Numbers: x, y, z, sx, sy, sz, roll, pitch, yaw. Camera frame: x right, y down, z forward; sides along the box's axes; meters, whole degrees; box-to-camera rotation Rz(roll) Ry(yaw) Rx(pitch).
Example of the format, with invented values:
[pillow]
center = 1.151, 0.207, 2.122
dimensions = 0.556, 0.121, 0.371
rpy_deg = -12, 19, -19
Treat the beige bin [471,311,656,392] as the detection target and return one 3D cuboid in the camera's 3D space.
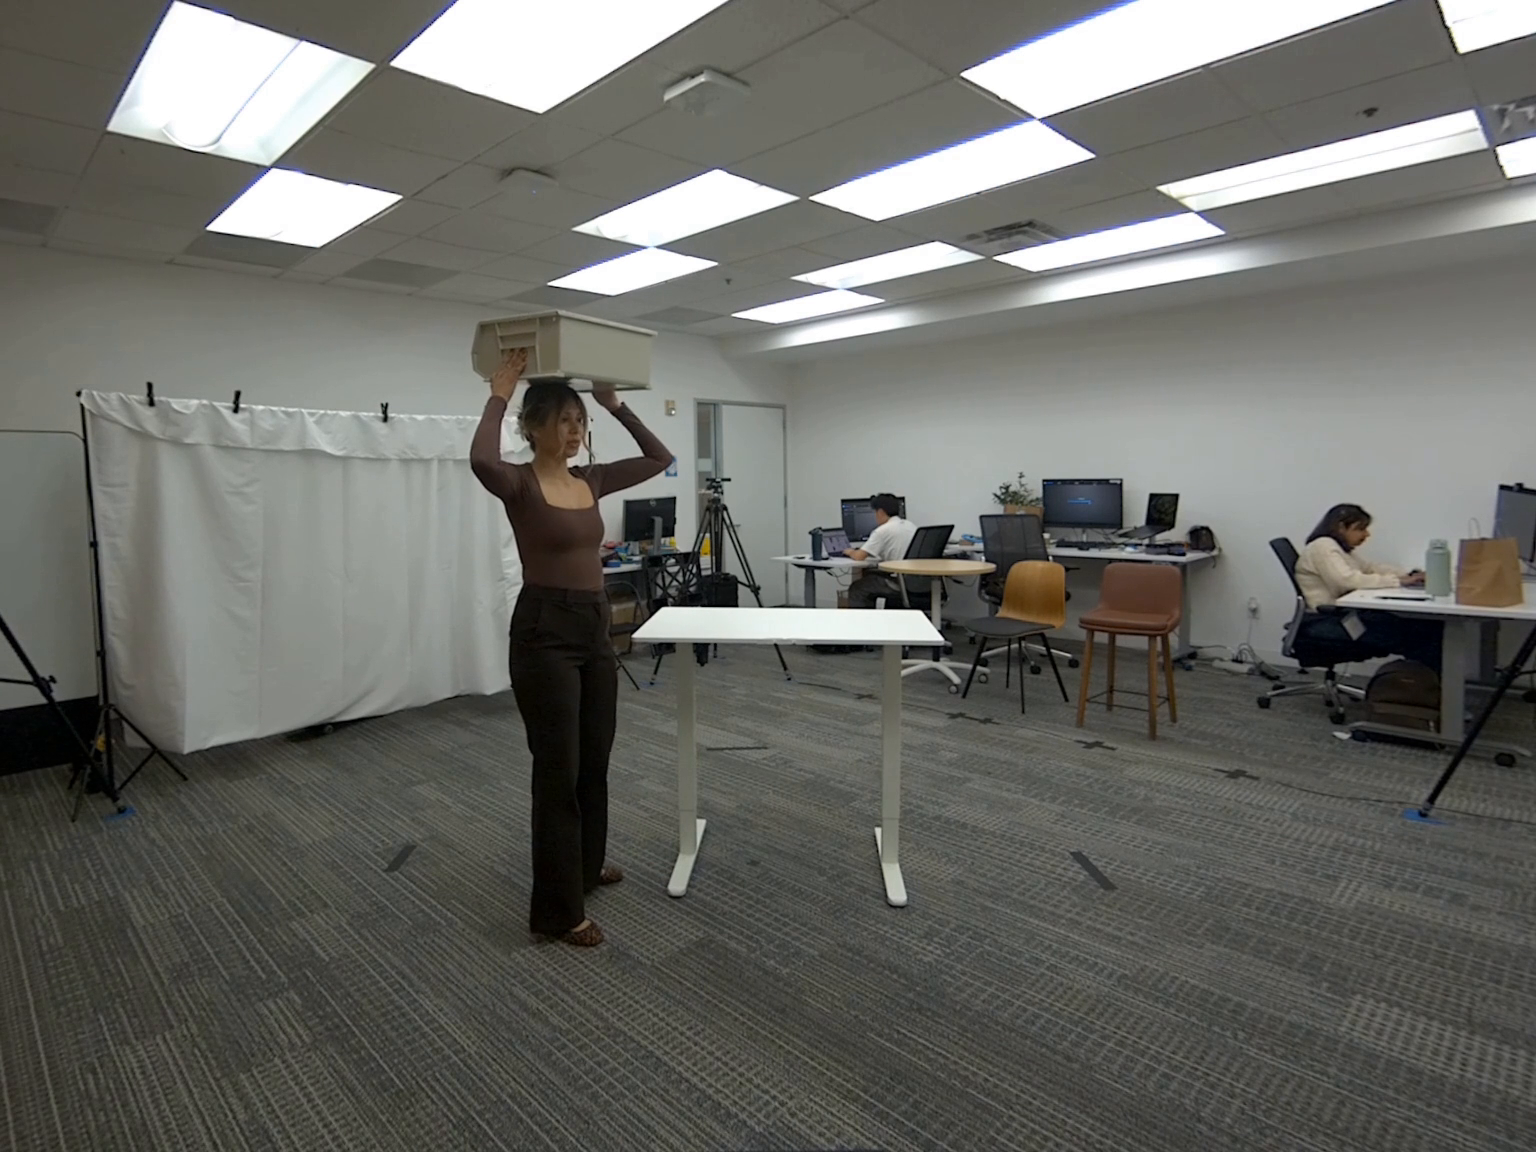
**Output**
[beige bin]
center = -0.619, -0.674, 2.620
dimensions = 0.388, 0.188, 0.412
rpy_deg = 7, 8, 34
